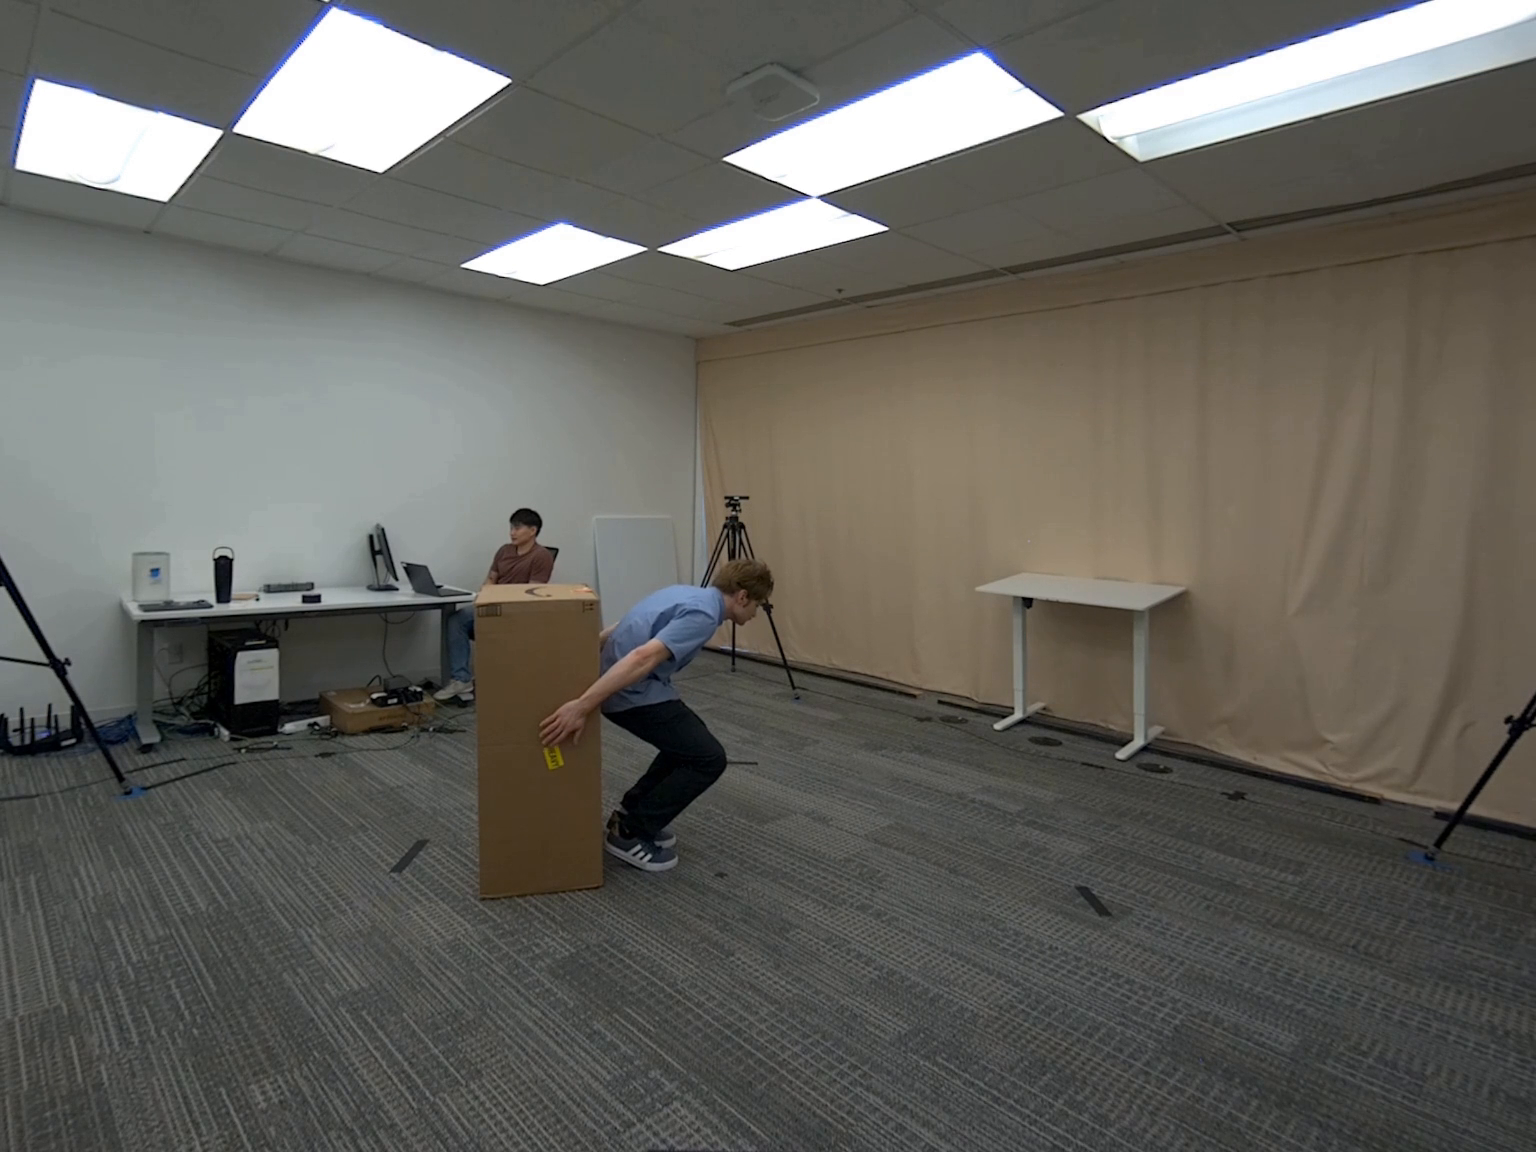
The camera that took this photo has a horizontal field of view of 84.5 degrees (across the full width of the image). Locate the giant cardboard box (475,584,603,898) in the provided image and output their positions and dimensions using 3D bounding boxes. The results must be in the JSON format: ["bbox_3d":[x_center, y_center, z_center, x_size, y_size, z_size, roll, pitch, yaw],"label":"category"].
[{"bbox_3d":[-0.873,0.572,3.166,0.441,1.024,0.592,-1,4,-17],"label":"giant cardboard box"}]
